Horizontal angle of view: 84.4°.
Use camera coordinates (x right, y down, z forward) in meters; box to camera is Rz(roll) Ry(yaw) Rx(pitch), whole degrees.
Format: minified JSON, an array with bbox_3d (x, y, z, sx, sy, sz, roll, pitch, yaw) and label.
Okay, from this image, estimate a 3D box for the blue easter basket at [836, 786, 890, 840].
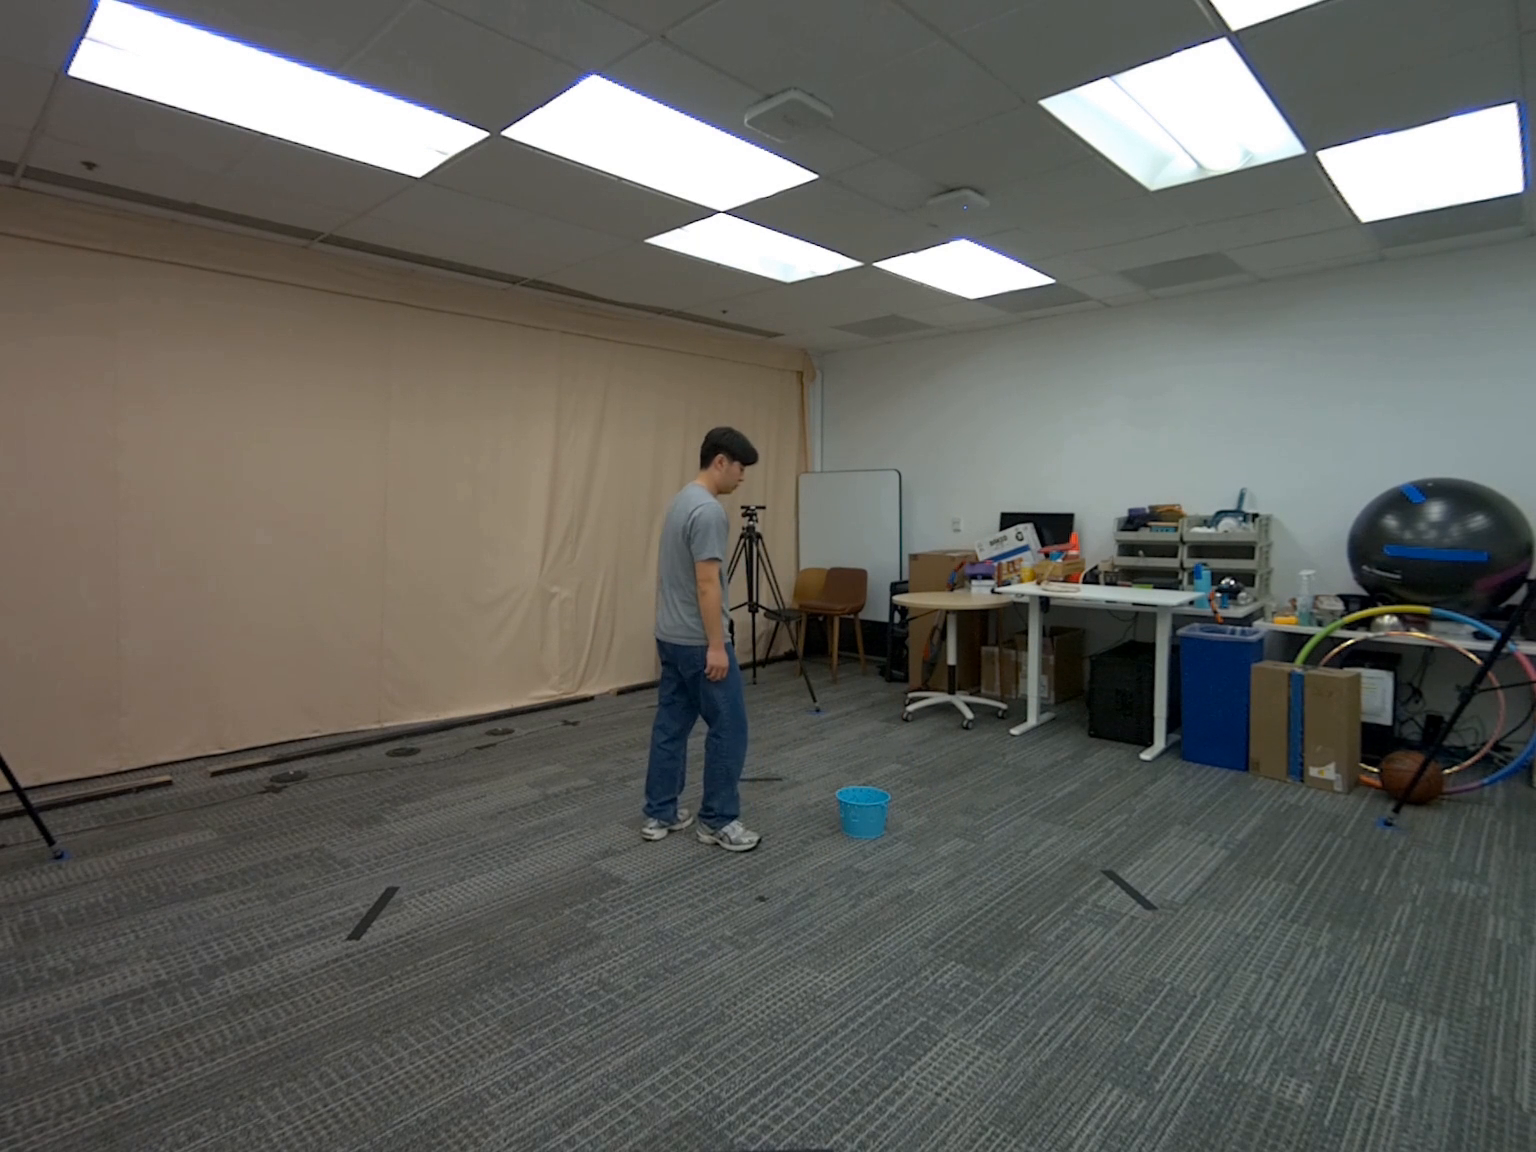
[{"bbox_3d":[0.416,1.012,3.607,0.243,0.155,0.244,0,5,-2],"label":"blue easter basket"}]
